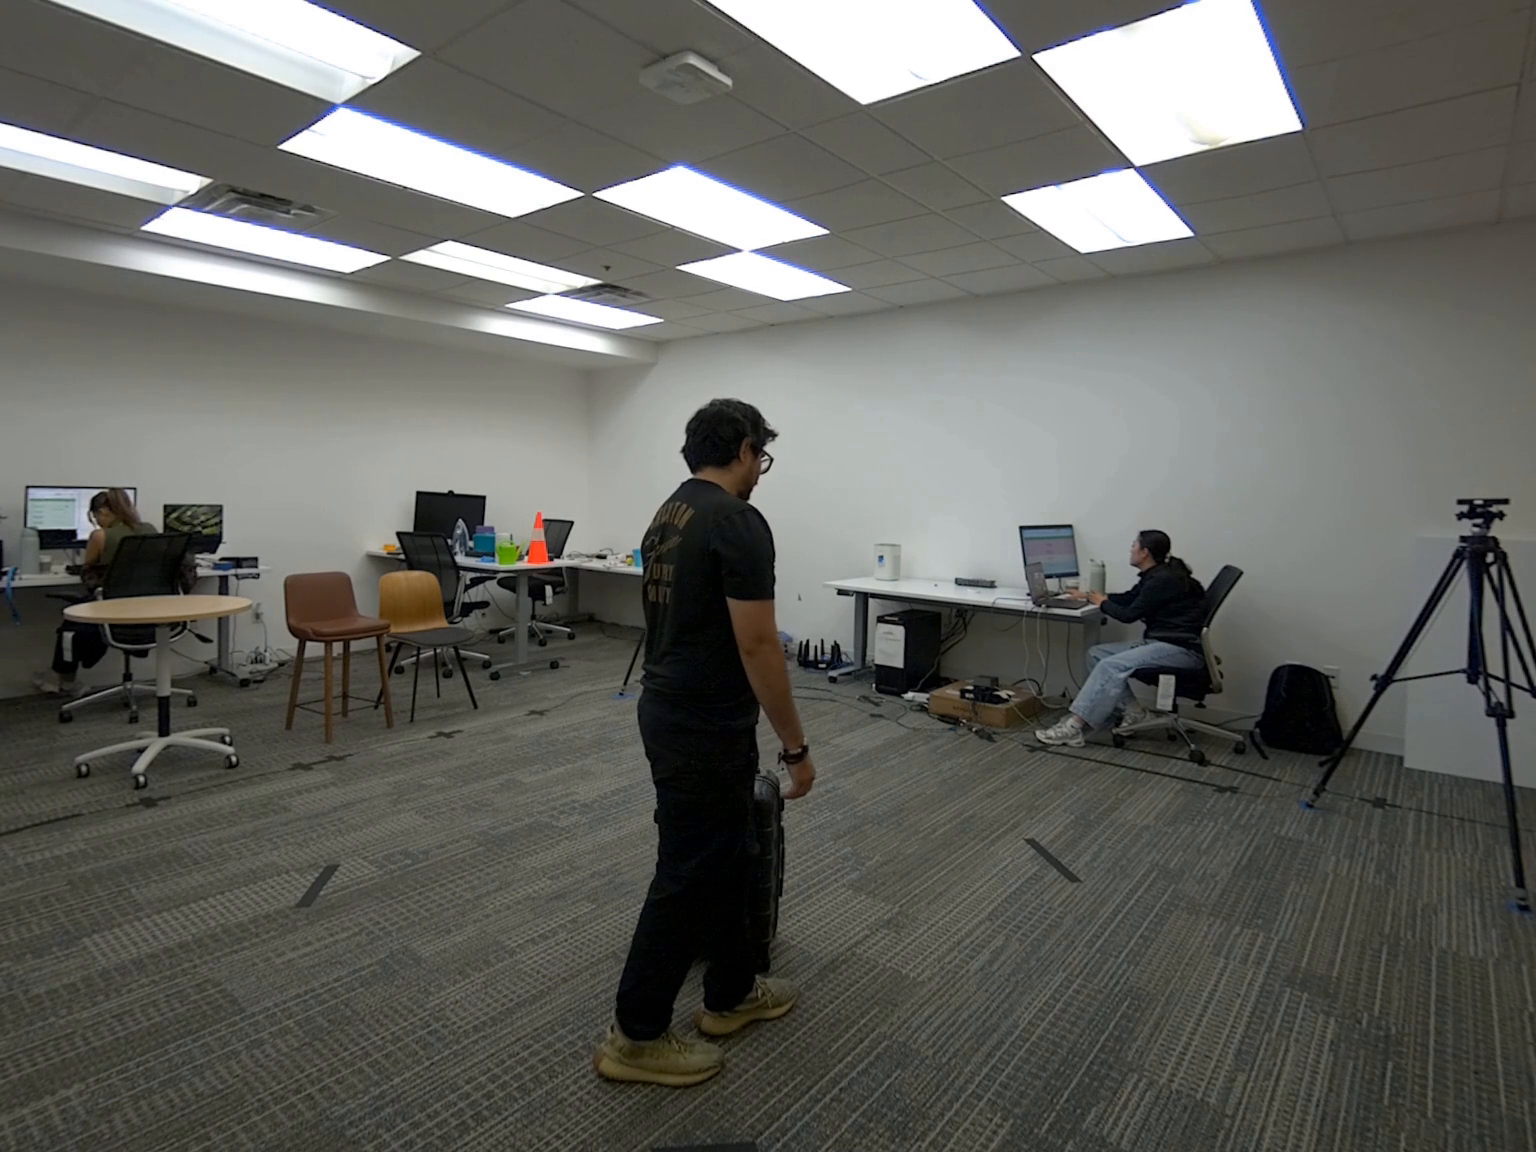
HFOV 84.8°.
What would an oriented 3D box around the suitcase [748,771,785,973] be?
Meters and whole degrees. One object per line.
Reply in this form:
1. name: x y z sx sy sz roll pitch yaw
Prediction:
1. suitcase: -0.146 0.846 2.555 0.379 0.546 0.247 2 6 8
